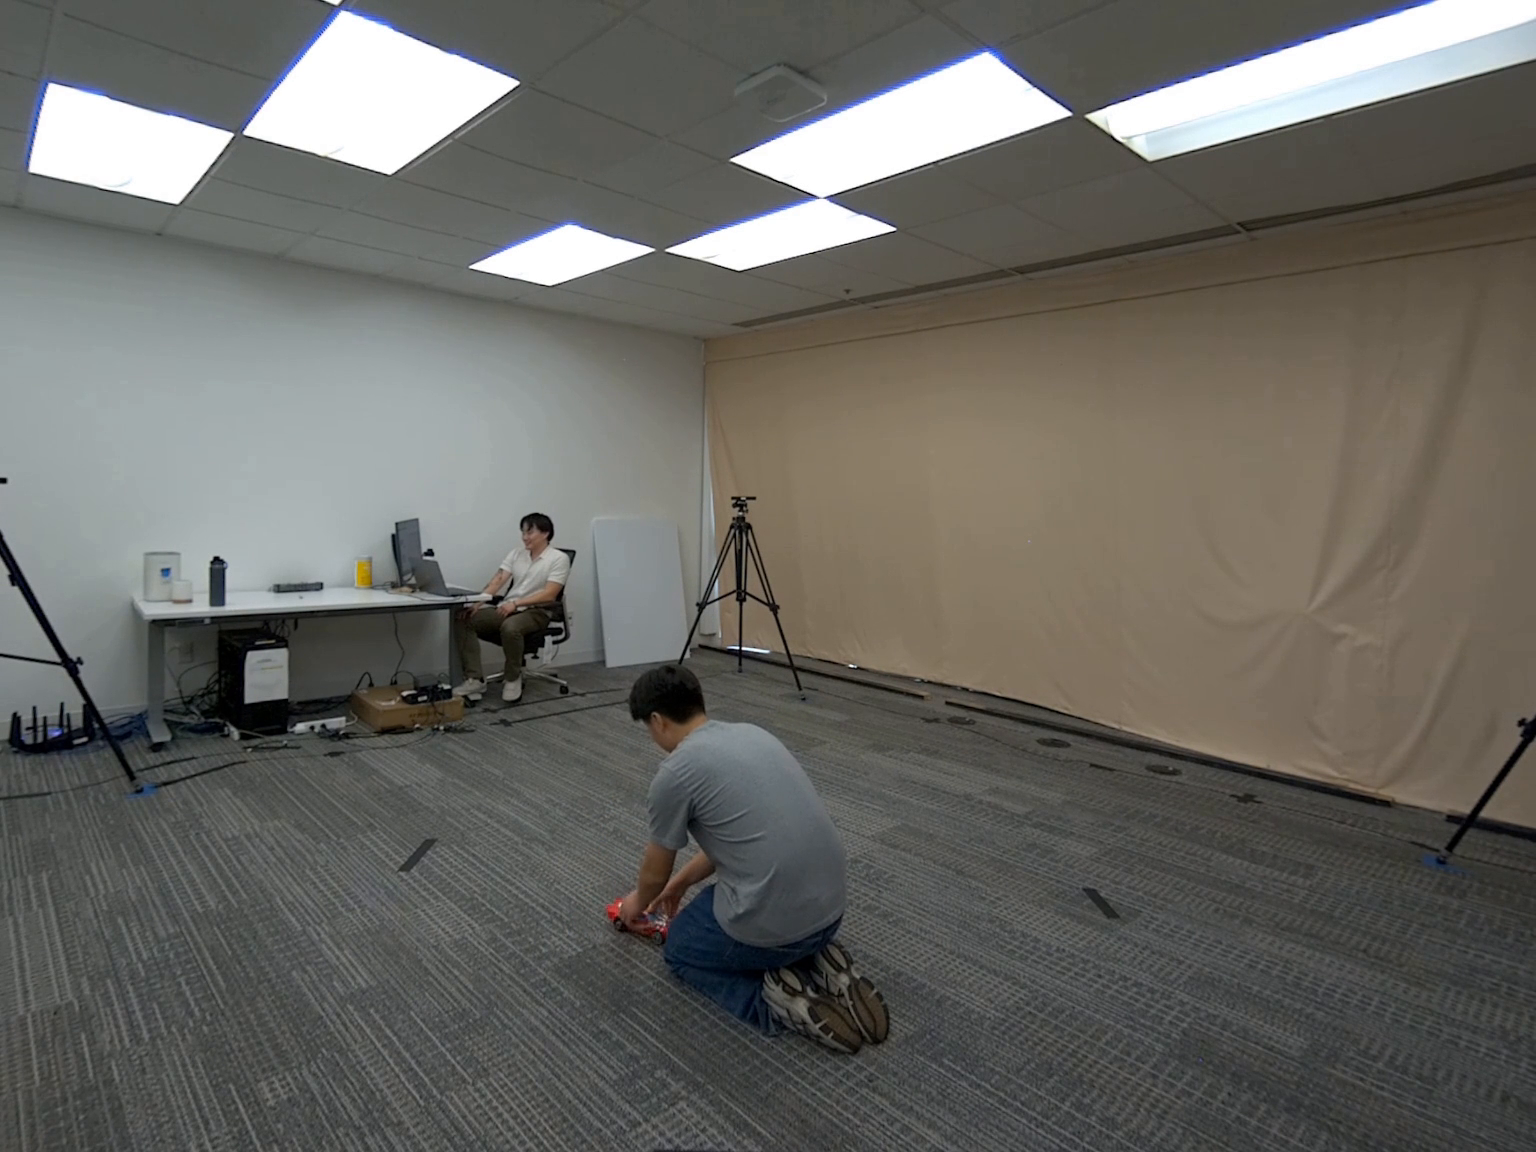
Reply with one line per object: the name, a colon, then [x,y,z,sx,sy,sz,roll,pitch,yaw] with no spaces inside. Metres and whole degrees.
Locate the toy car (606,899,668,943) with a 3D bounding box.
toy car: [-0.413,1.107,2.708,0.261,0.083,0.128,18,13,27]
